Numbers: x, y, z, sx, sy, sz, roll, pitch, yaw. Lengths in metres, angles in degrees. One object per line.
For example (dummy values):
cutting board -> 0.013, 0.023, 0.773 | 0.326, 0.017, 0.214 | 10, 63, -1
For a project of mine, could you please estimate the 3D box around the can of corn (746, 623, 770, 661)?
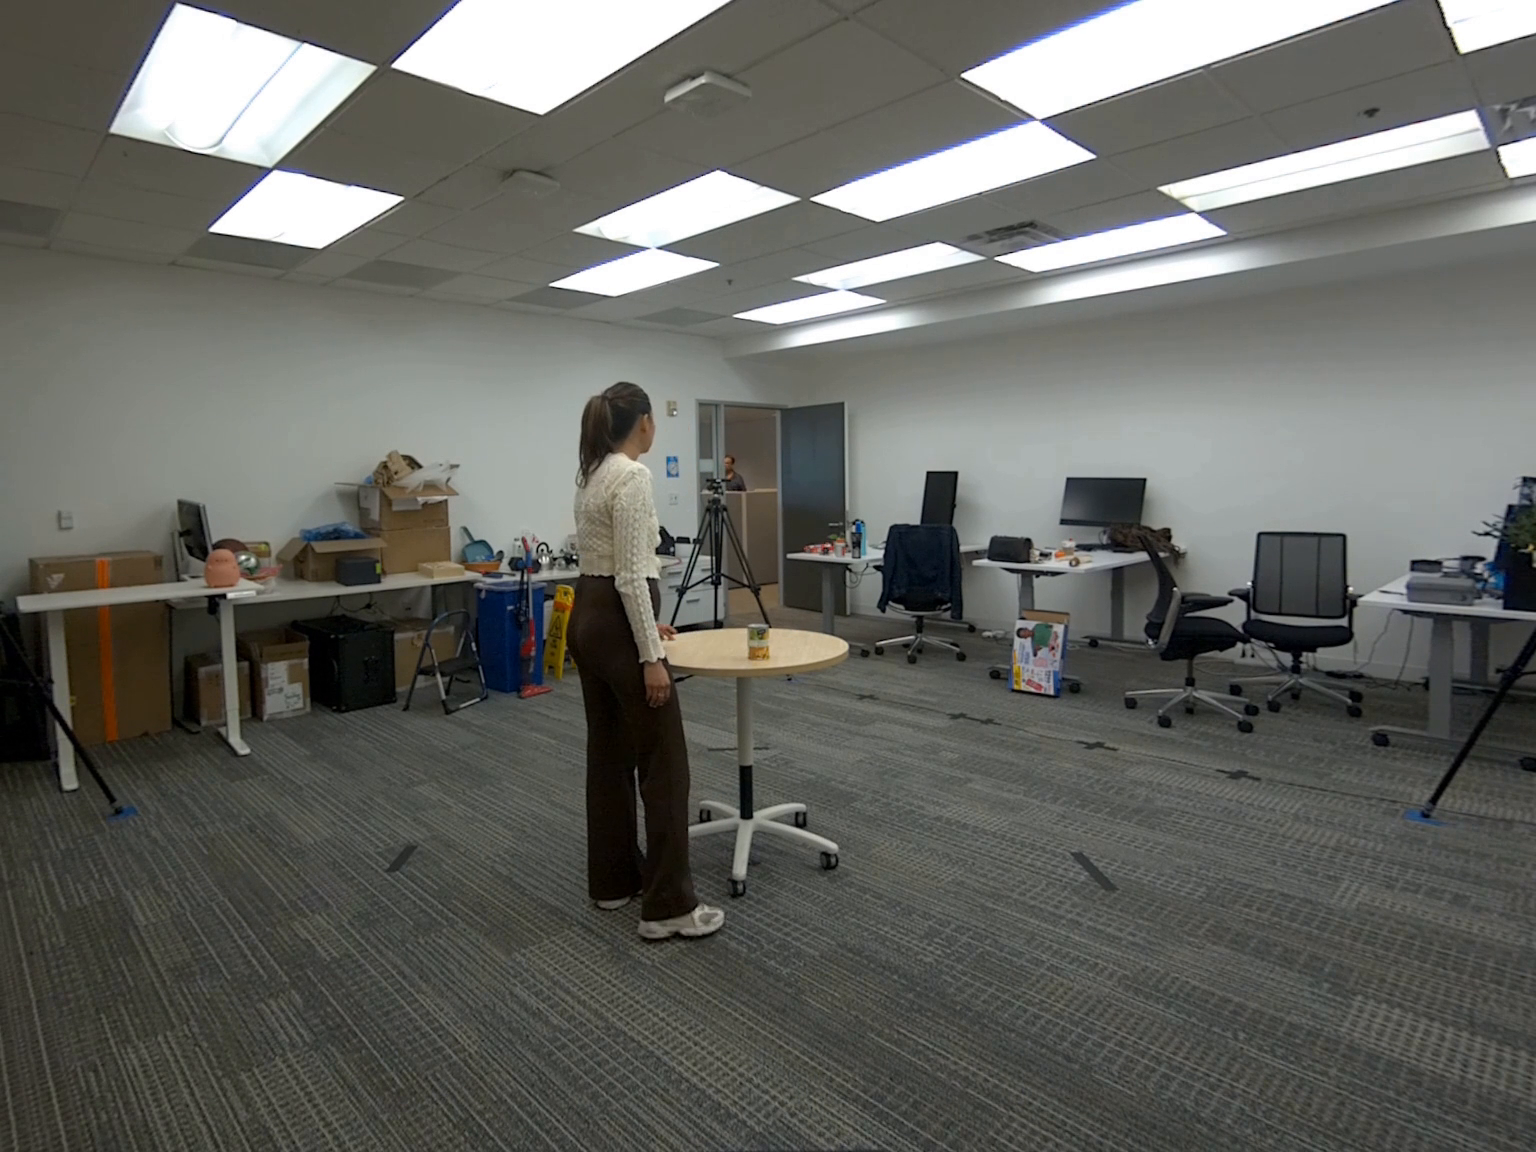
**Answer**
can of corn -> -0.029, 0.222, 2.911 | 0.074, 0.110, 0.074 | 0, 4, -2
